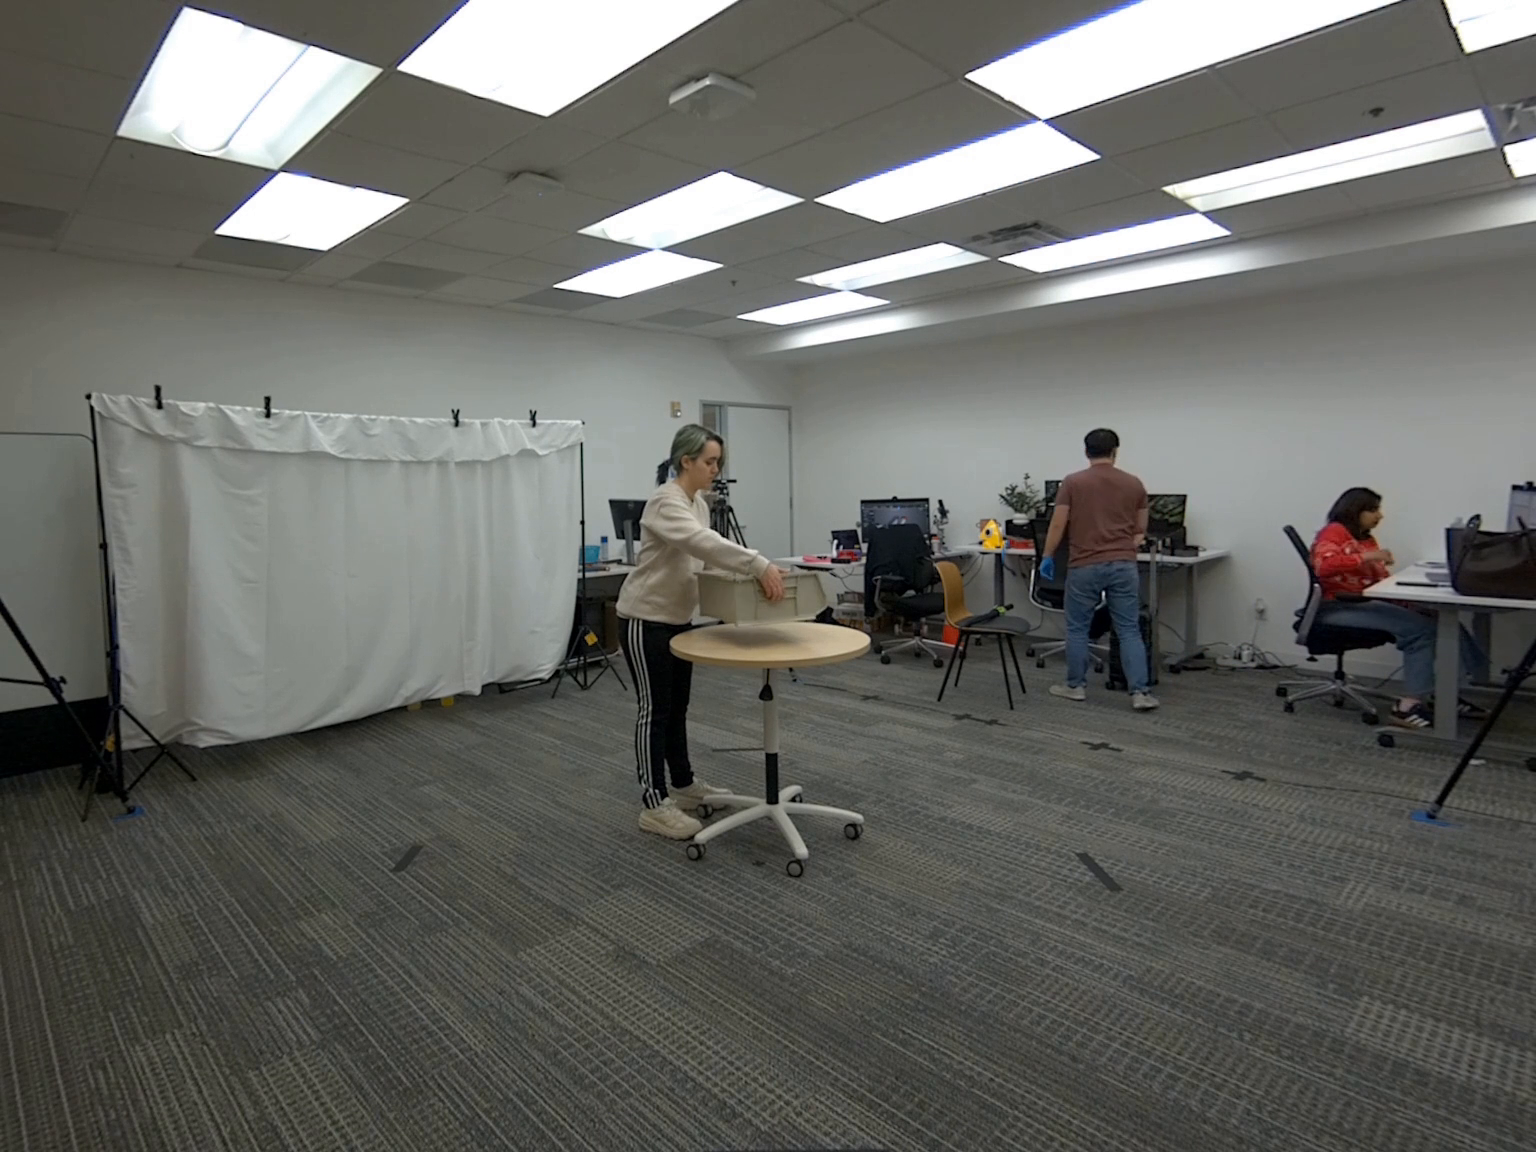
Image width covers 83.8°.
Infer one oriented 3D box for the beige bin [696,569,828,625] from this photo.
[{"bbox_3d":[-0.022,0.079,3.294,0.371,0.188,0.430,-4,5,-18],"label":"beige bin"}]
